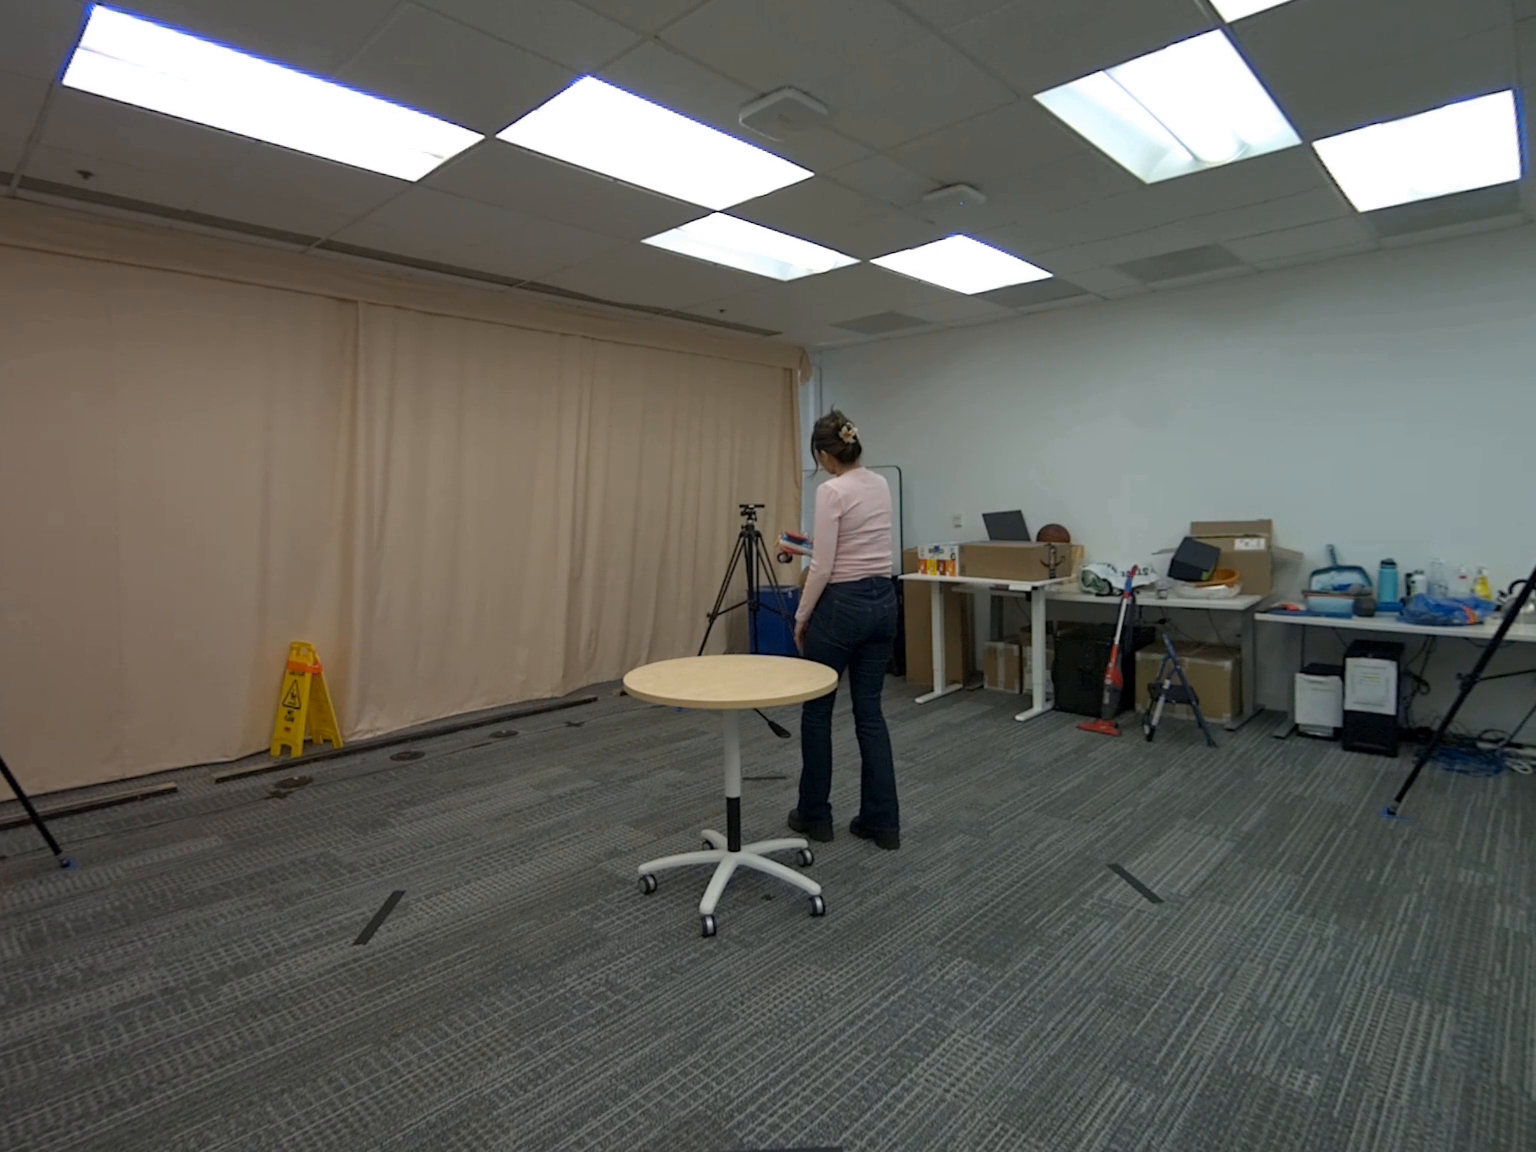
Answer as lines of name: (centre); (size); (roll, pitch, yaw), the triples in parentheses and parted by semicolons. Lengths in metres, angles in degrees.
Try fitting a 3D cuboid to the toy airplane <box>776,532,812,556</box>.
toy airplane: (0.169, -0.131, 4.059); (0.256, 0.156, 0.254); (4, 0, -10)
